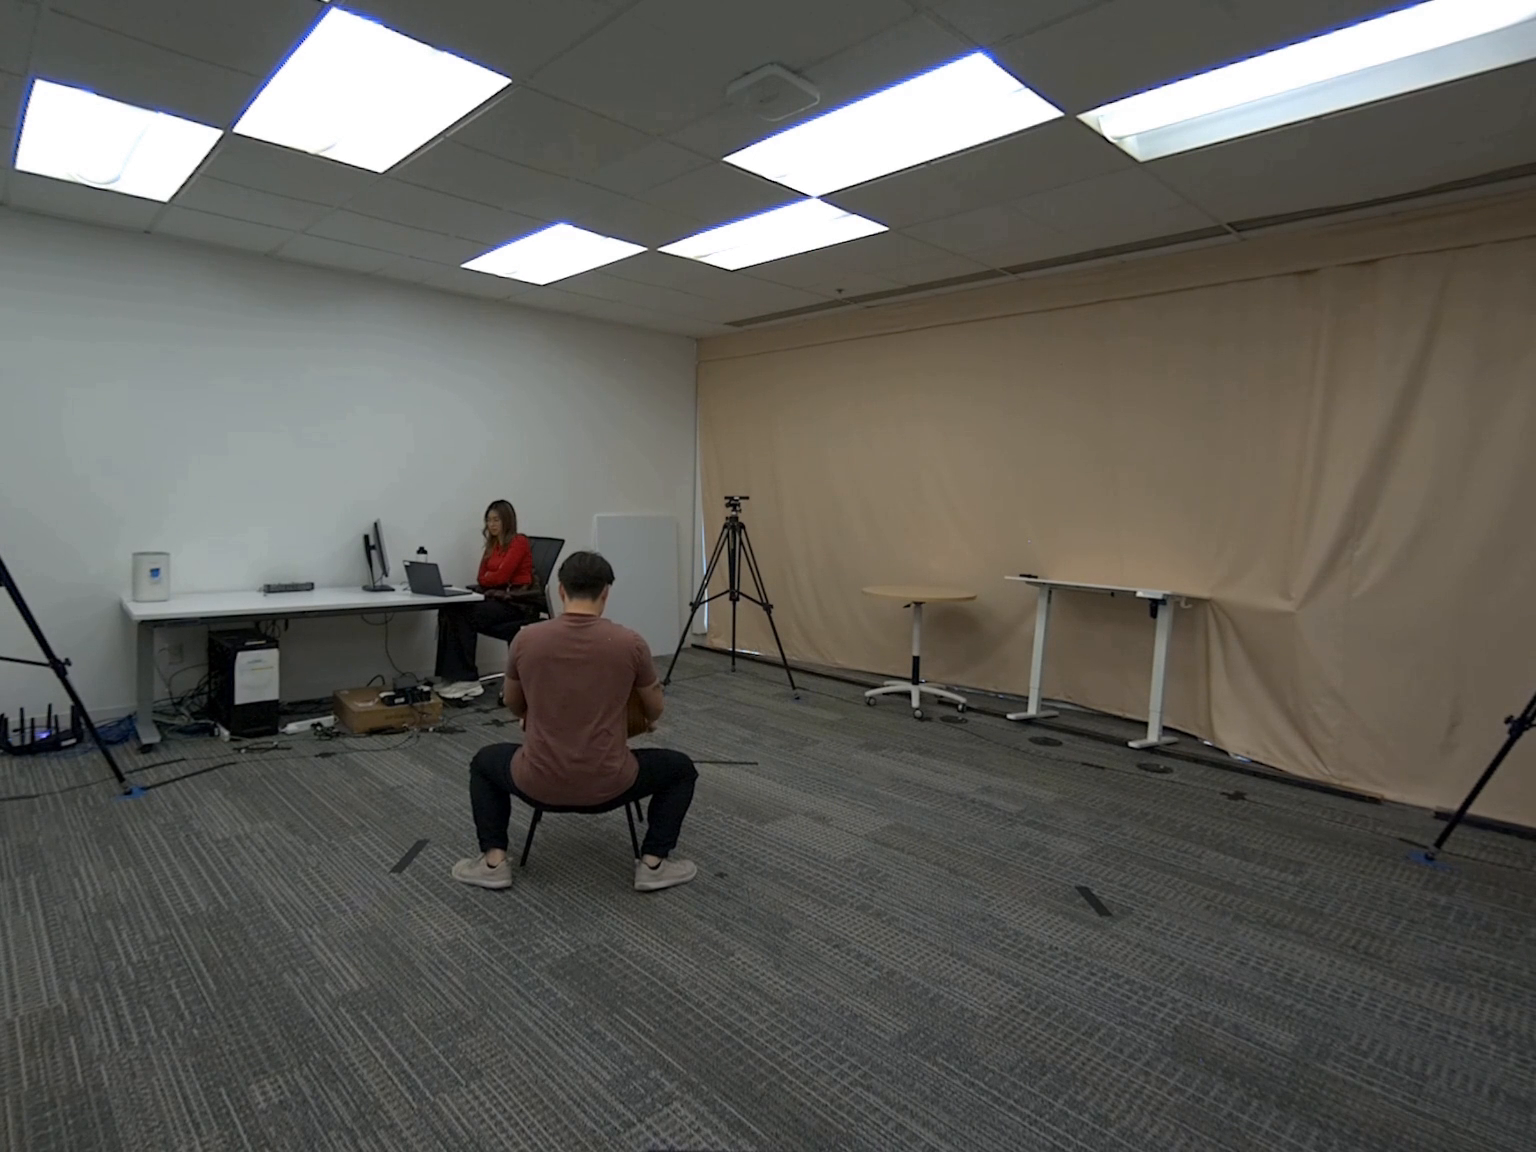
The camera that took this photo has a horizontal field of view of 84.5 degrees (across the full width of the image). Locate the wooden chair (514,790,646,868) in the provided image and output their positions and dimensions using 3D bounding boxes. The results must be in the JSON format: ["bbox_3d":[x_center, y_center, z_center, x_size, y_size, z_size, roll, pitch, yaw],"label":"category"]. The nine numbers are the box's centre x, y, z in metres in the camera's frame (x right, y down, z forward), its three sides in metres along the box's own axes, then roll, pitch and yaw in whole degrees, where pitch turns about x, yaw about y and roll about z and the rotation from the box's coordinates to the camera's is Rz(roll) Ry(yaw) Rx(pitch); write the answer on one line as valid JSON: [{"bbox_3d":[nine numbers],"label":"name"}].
[{"bbox_3d":[-0.722,0.645,3.362,0.476,0.873,0.528,0,7,-6],"label":"wooden chair"}]
